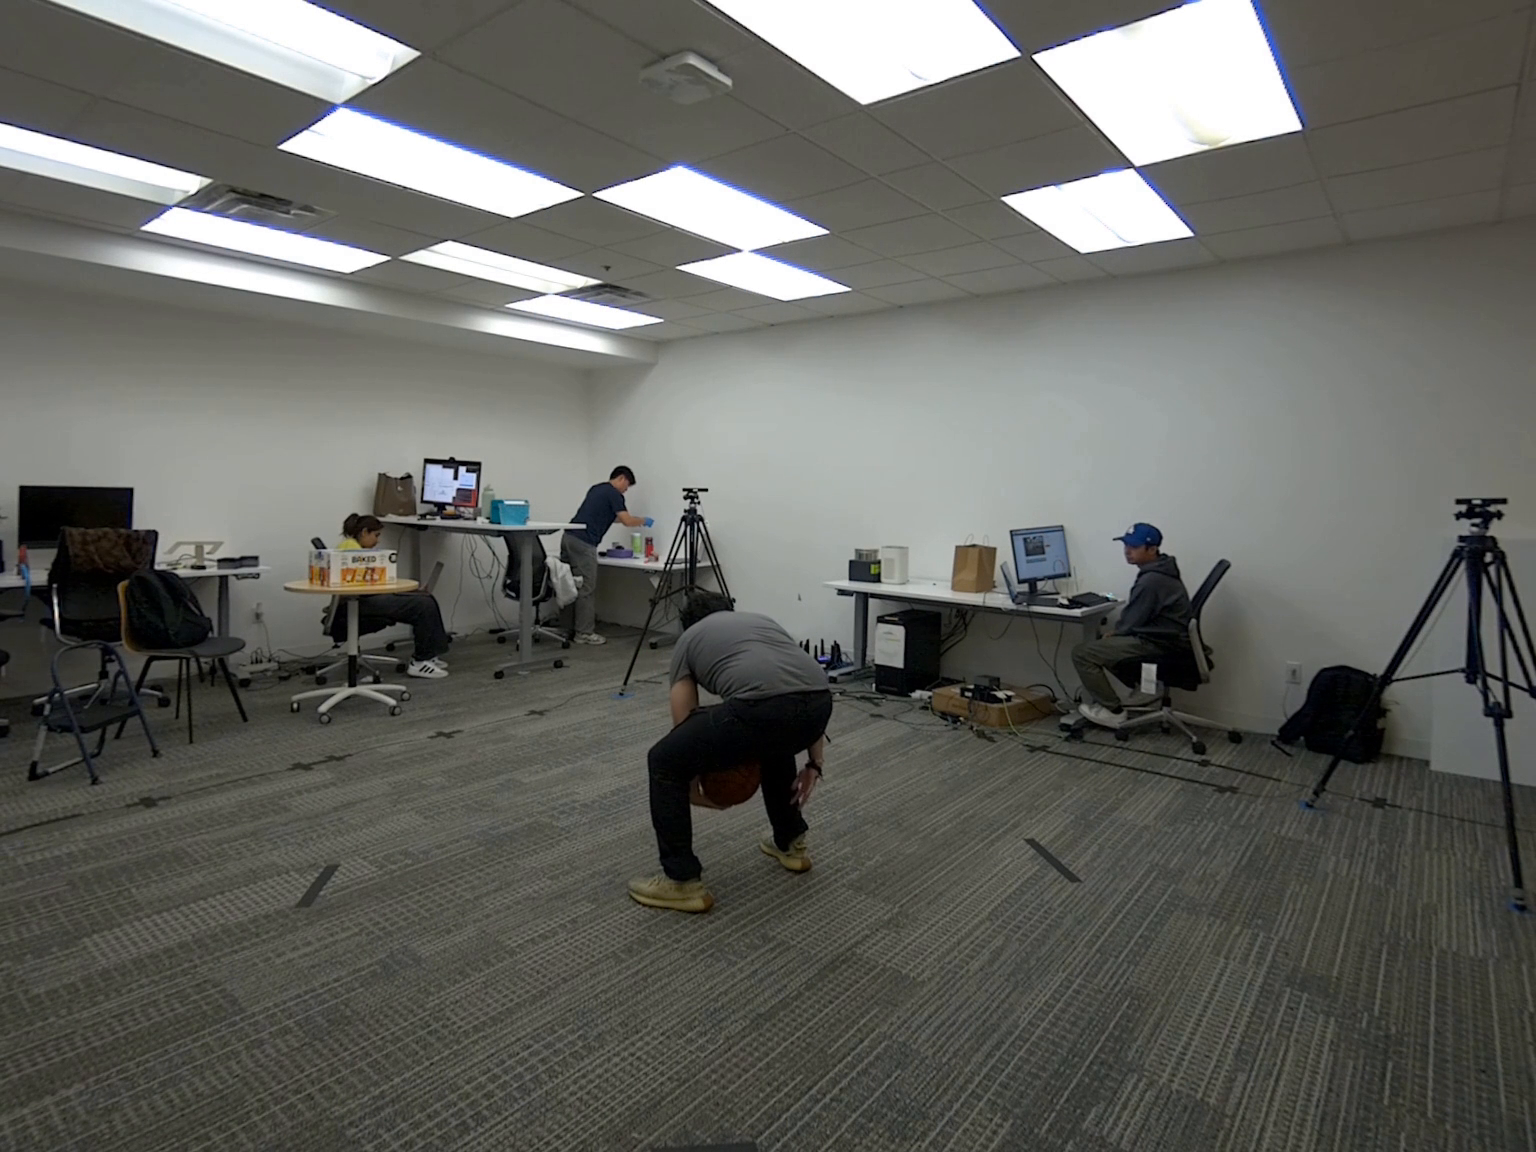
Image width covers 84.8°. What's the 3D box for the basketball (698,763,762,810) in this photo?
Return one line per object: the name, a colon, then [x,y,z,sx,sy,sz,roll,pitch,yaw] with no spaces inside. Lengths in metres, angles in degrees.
basketball: [-0.154,0.723,3.150,0.235,0.235,0.237,1,4,-2]
